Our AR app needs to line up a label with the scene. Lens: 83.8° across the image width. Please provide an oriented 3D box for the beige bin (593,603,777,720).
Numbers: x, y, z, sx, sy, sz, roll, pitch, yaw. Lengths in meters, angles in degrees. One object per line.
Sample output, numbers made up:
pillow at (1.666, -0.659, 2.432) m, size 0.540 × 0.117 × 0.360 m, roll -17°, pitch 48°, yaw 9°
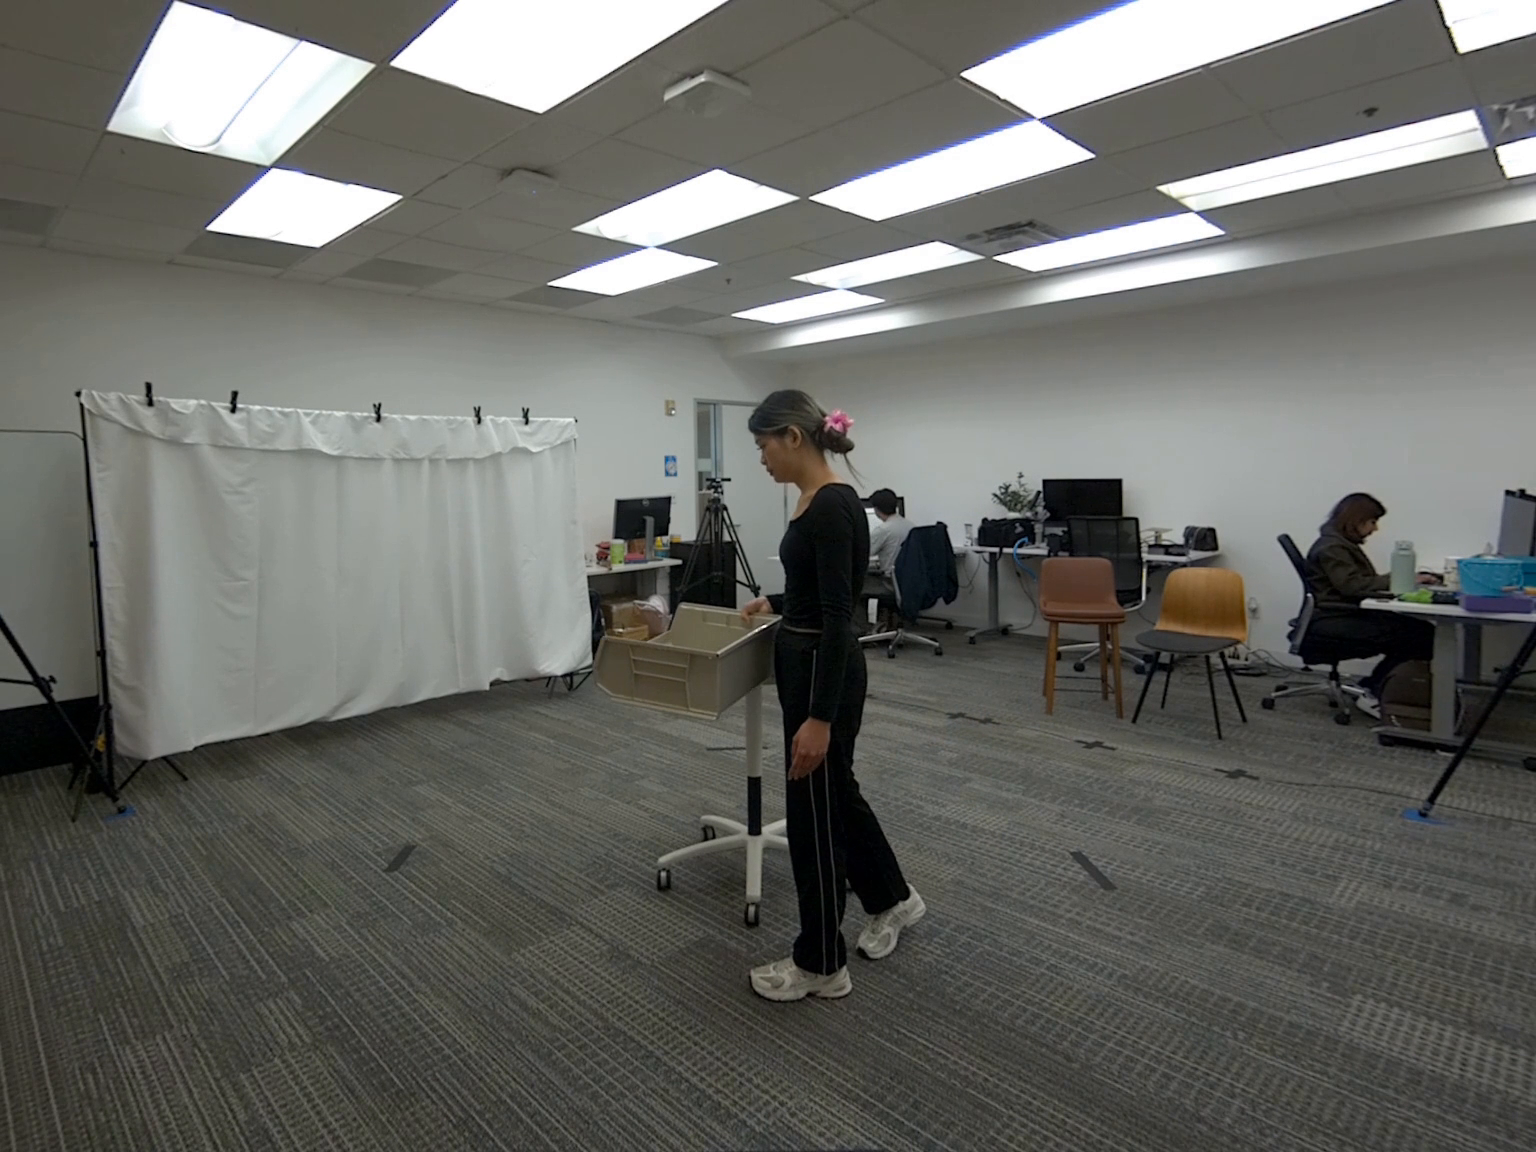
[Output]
beige bin at (-0.215, 0.222, 2.373) m, size 0.386 × 0.187 × 0.417 m, roll 6°, pitch 12°, yaw 22°
